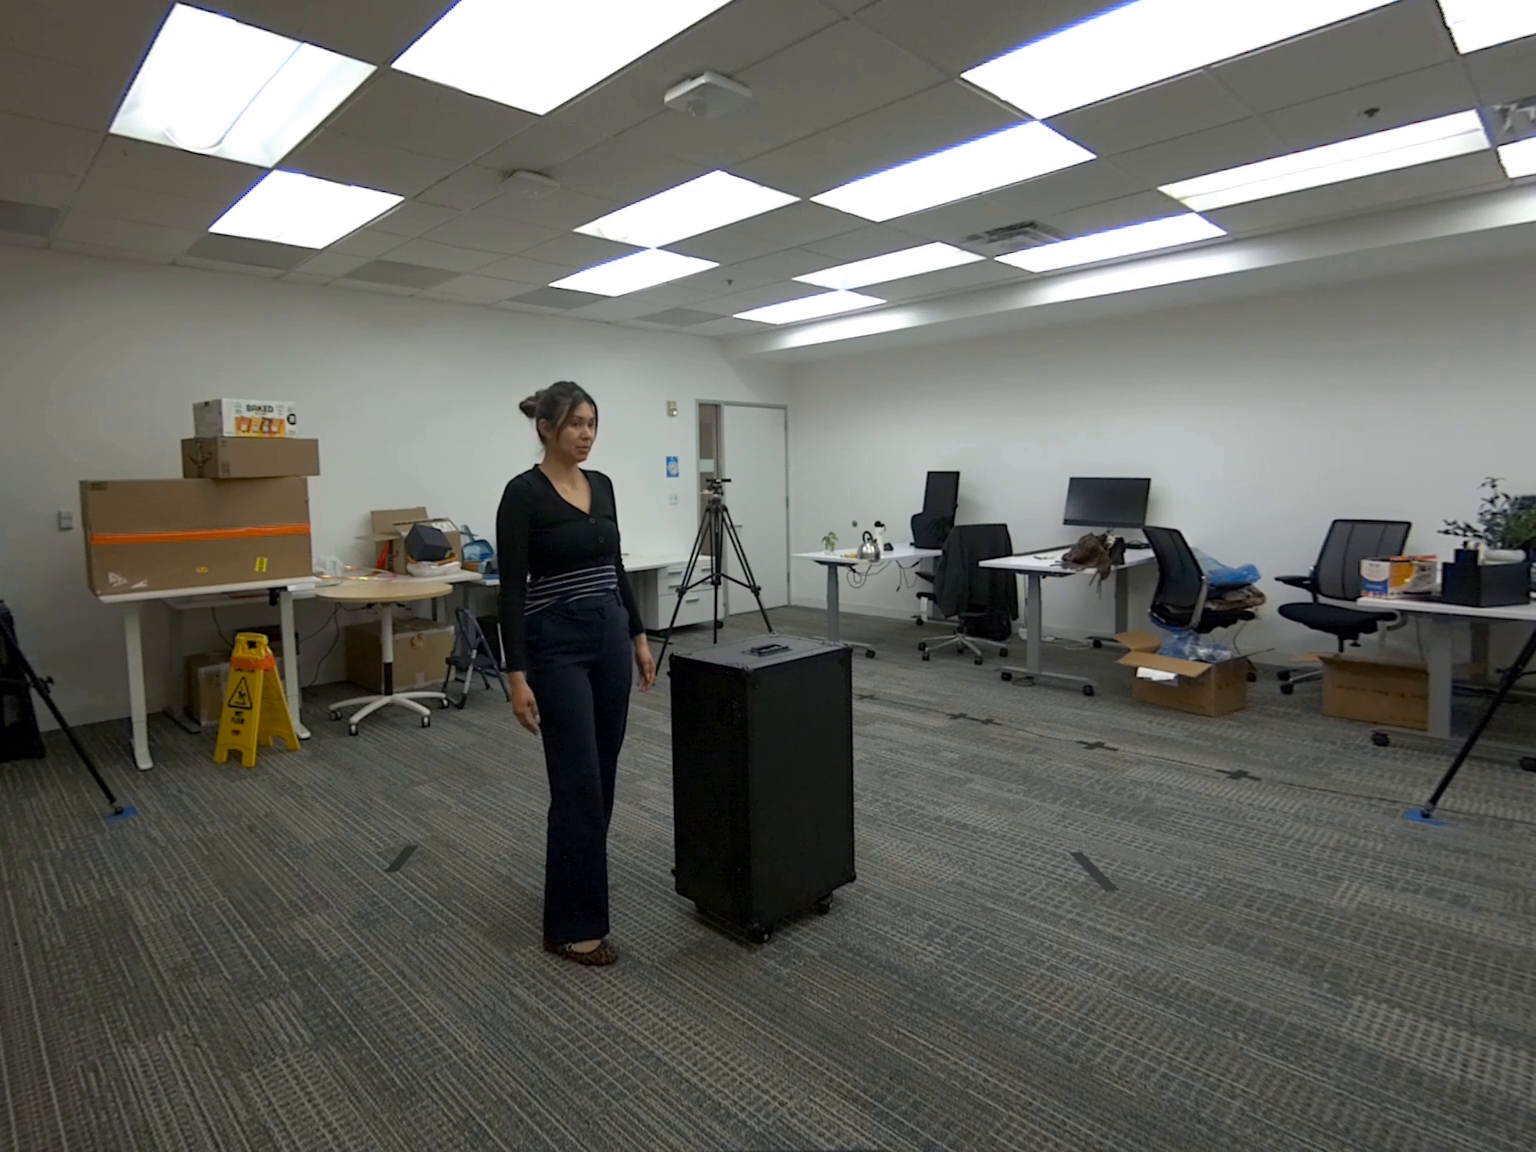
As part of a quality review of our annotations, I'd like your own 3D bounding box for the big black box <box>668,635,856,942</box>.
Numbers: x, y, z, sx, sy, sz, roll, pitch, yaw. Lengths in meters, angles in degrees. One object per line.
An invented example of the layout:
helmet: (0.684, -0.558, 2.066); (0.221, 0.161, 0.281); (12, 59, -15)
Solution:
big black box: (-0.016, 0.607, 2.768); (0.508, 0.858, 0.408); (-6, 6, -43)
